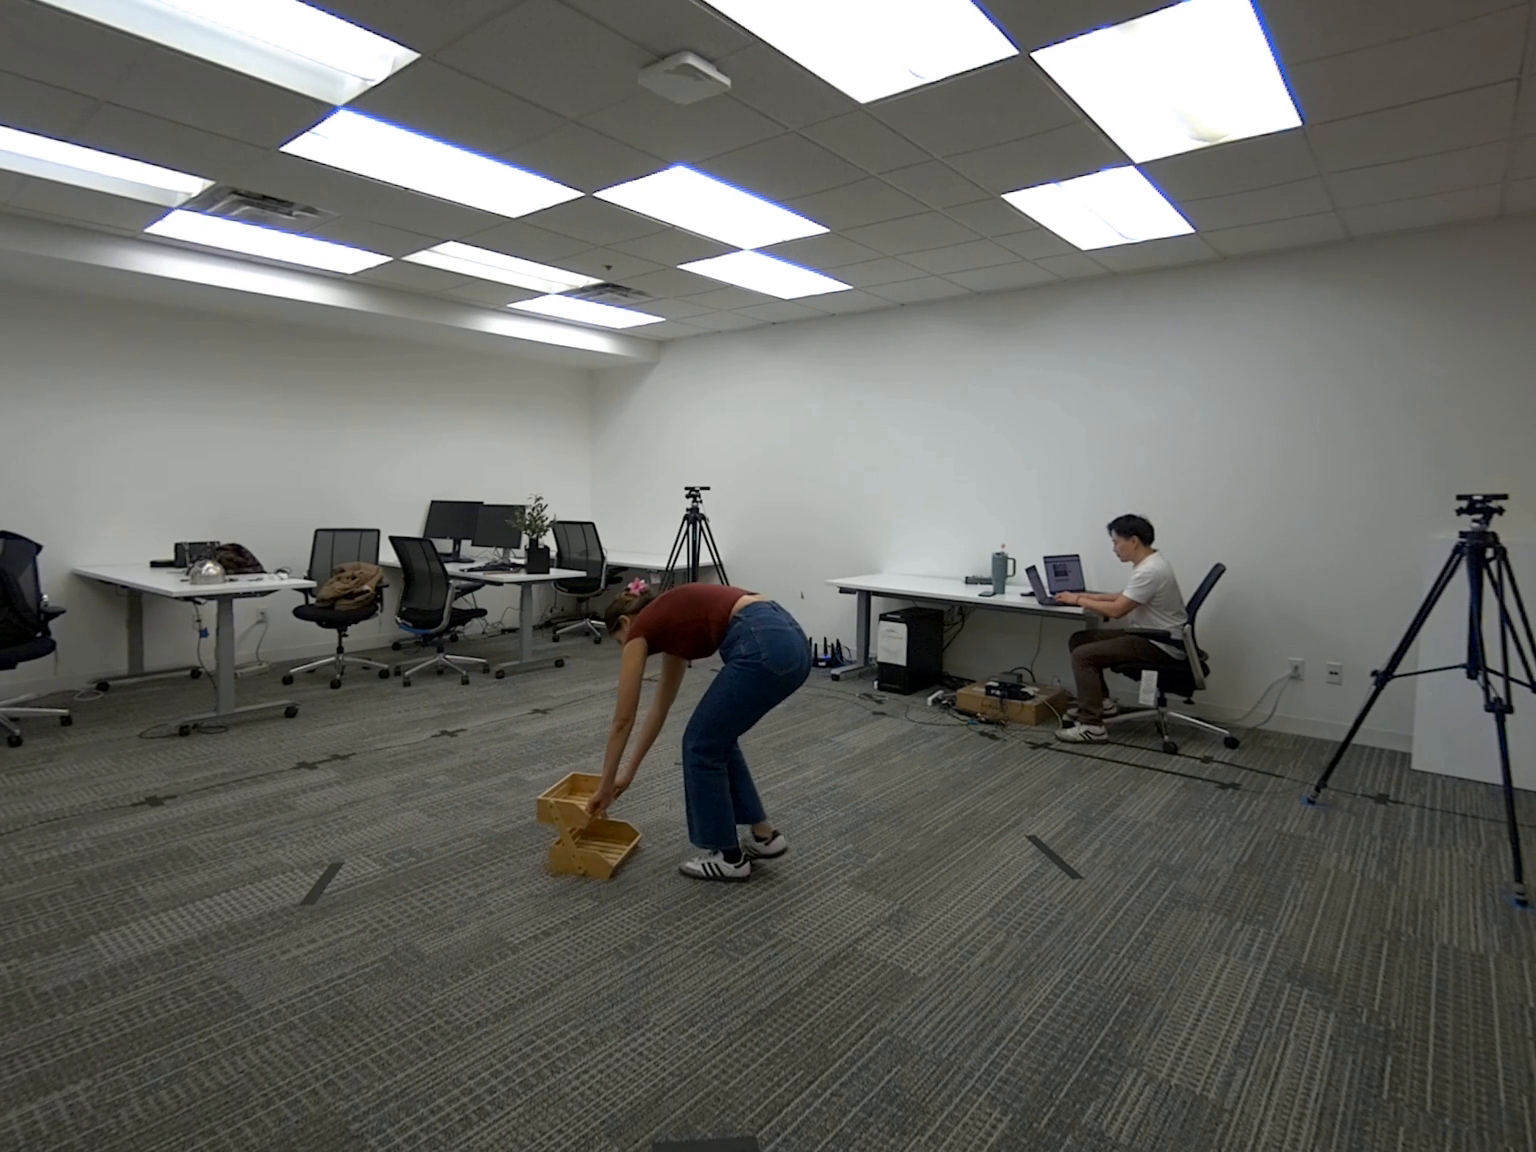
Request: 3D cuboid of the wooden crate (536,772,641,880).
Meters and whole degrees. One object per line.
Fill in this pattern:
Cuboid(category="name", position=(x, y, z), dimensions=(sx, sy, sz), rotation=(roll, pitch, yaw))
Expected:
Cuboid(category="wooden crate", position=(-0.671, 0.918, 3.182), dimensions=(0.307, 0.272, 0.321), rotation=(2, 4, 13))
